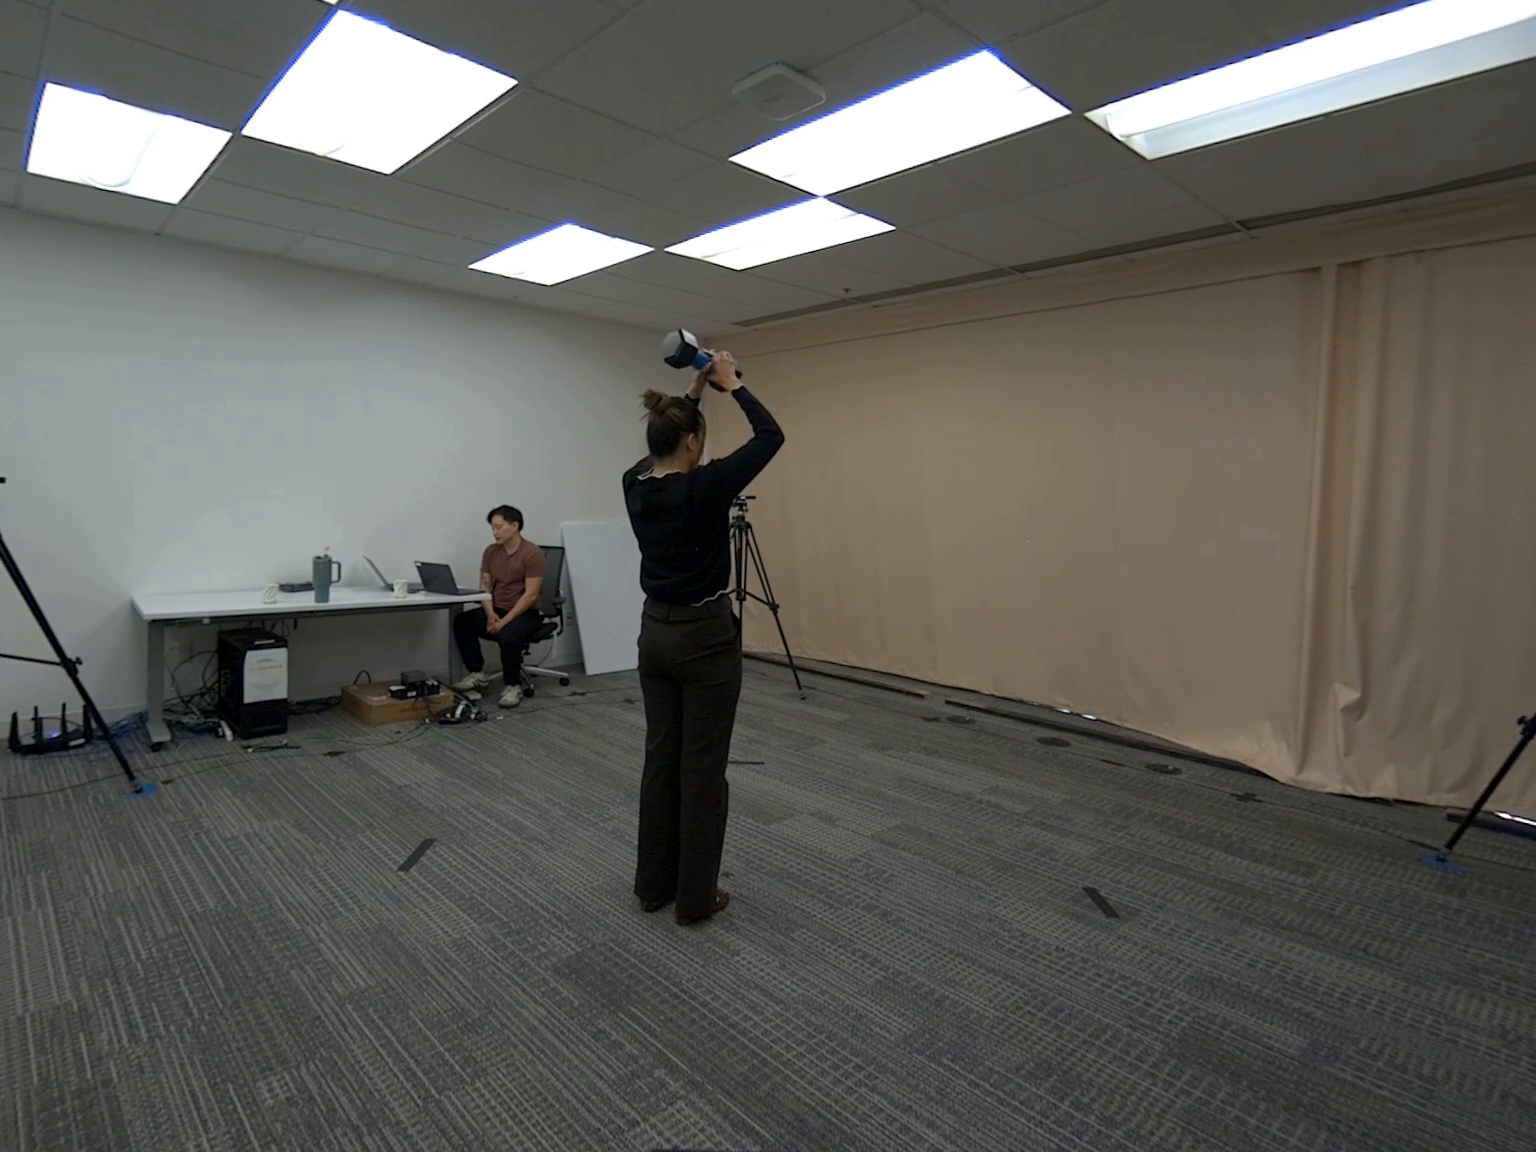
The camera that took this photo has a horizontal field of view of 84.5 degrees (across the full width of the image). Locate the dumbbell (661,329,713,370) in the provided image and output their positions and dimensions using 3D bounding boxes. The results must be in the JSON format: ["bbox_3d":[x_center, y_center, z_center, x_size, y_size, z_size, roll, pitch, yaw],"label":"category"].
[{"bbox_3d":[-0.236,-0.726,2.836,0.285,0.122,0.112,18,12,-46],"label":"dumbbell"}]
